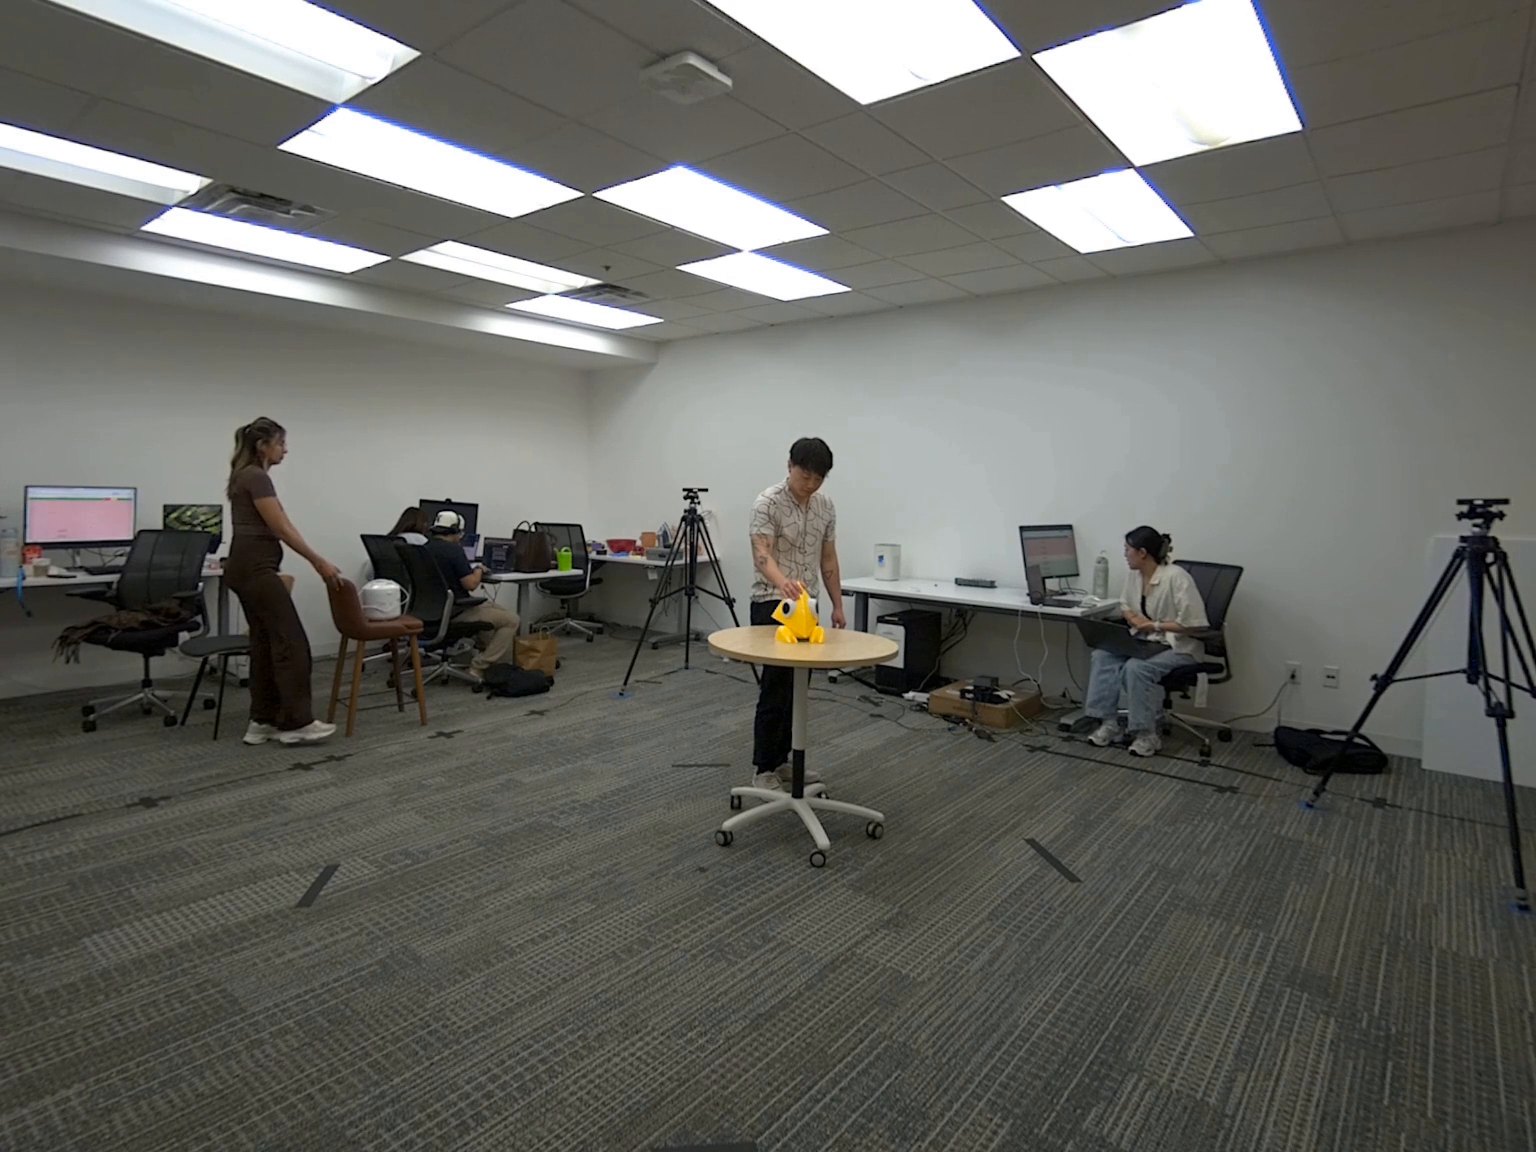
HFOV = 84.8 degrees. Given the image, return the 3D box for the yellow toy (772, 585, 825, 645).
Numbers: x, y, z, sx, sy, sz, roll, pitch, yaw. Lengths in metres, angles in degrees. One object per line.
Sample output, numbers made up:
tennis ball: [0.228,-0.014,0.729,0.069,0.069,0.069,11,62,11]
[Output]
yellow toy: [0.132,0.144,3.487,0.203,0.230,0.196,2,4,-10]
